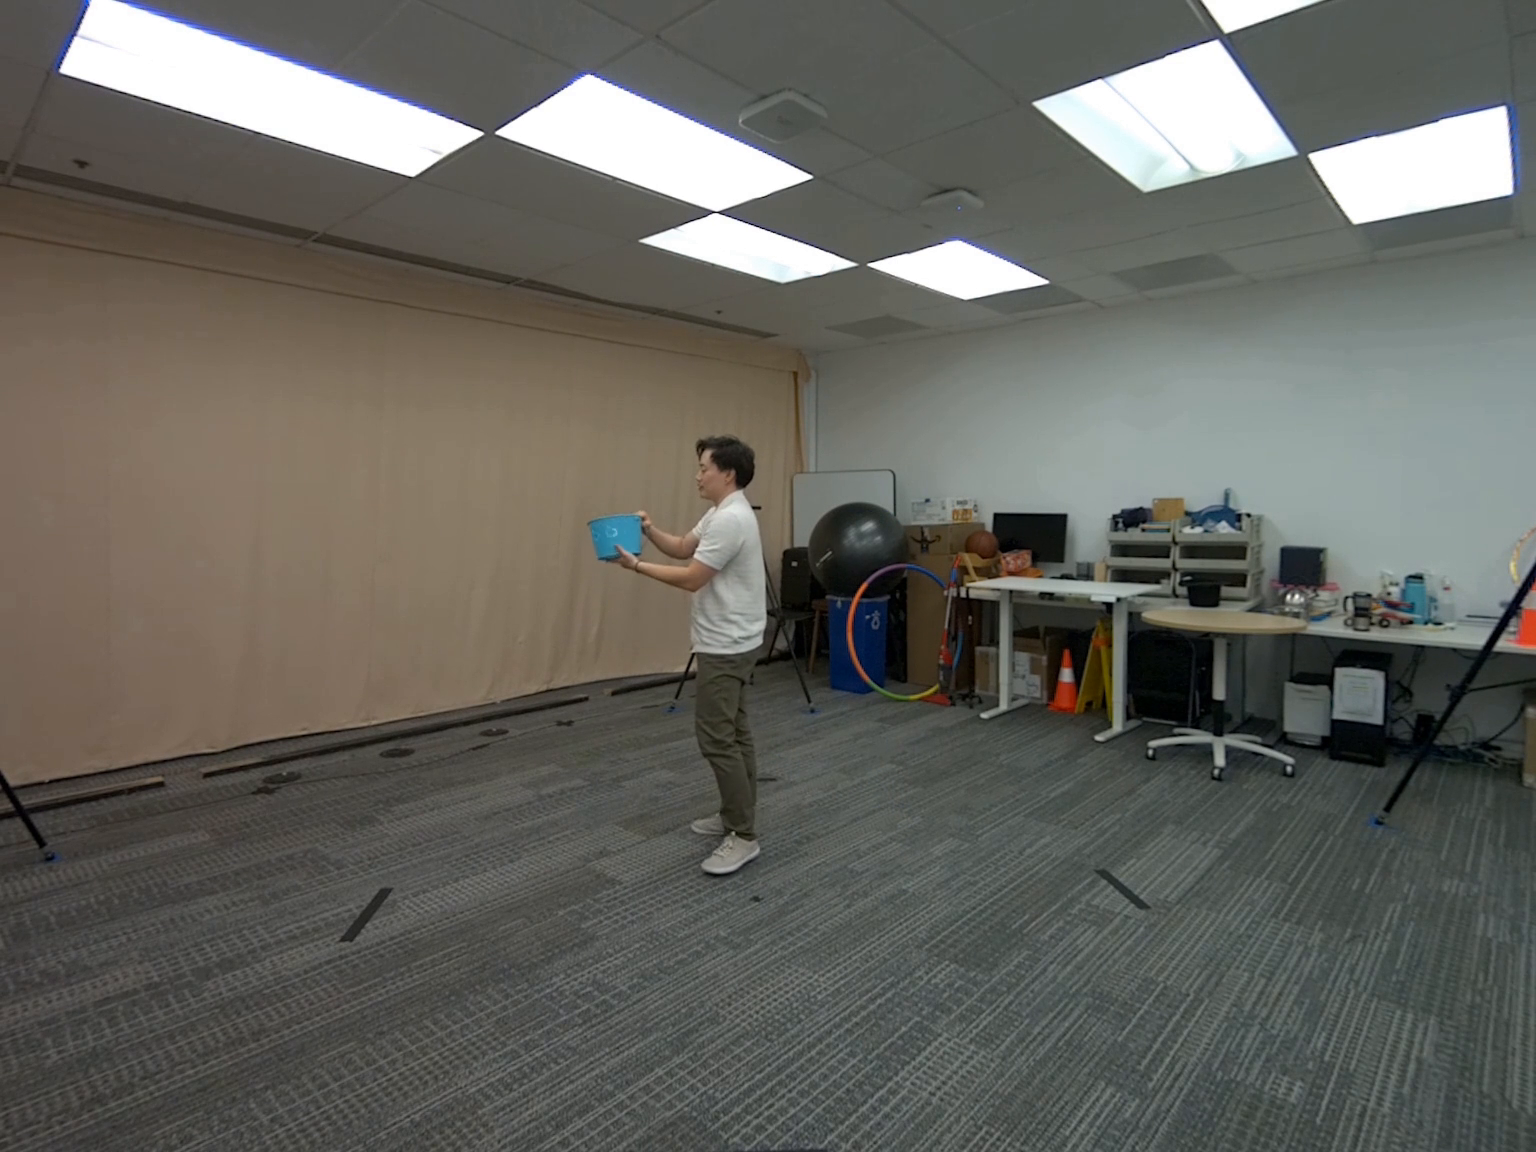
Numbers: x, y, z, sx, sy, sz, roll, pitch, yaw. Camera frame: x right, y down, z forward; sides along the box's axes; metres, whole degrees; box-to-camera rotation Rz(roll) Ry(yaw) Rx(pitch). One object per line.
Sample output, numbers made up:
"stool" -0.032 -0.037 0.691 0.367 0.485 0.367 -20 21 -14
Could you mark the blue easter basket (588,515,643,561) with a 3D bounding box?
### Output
"blue easter basket" -0.616 -0.147 3.487 0.243 0.157 0.242 -8 -9 -3
